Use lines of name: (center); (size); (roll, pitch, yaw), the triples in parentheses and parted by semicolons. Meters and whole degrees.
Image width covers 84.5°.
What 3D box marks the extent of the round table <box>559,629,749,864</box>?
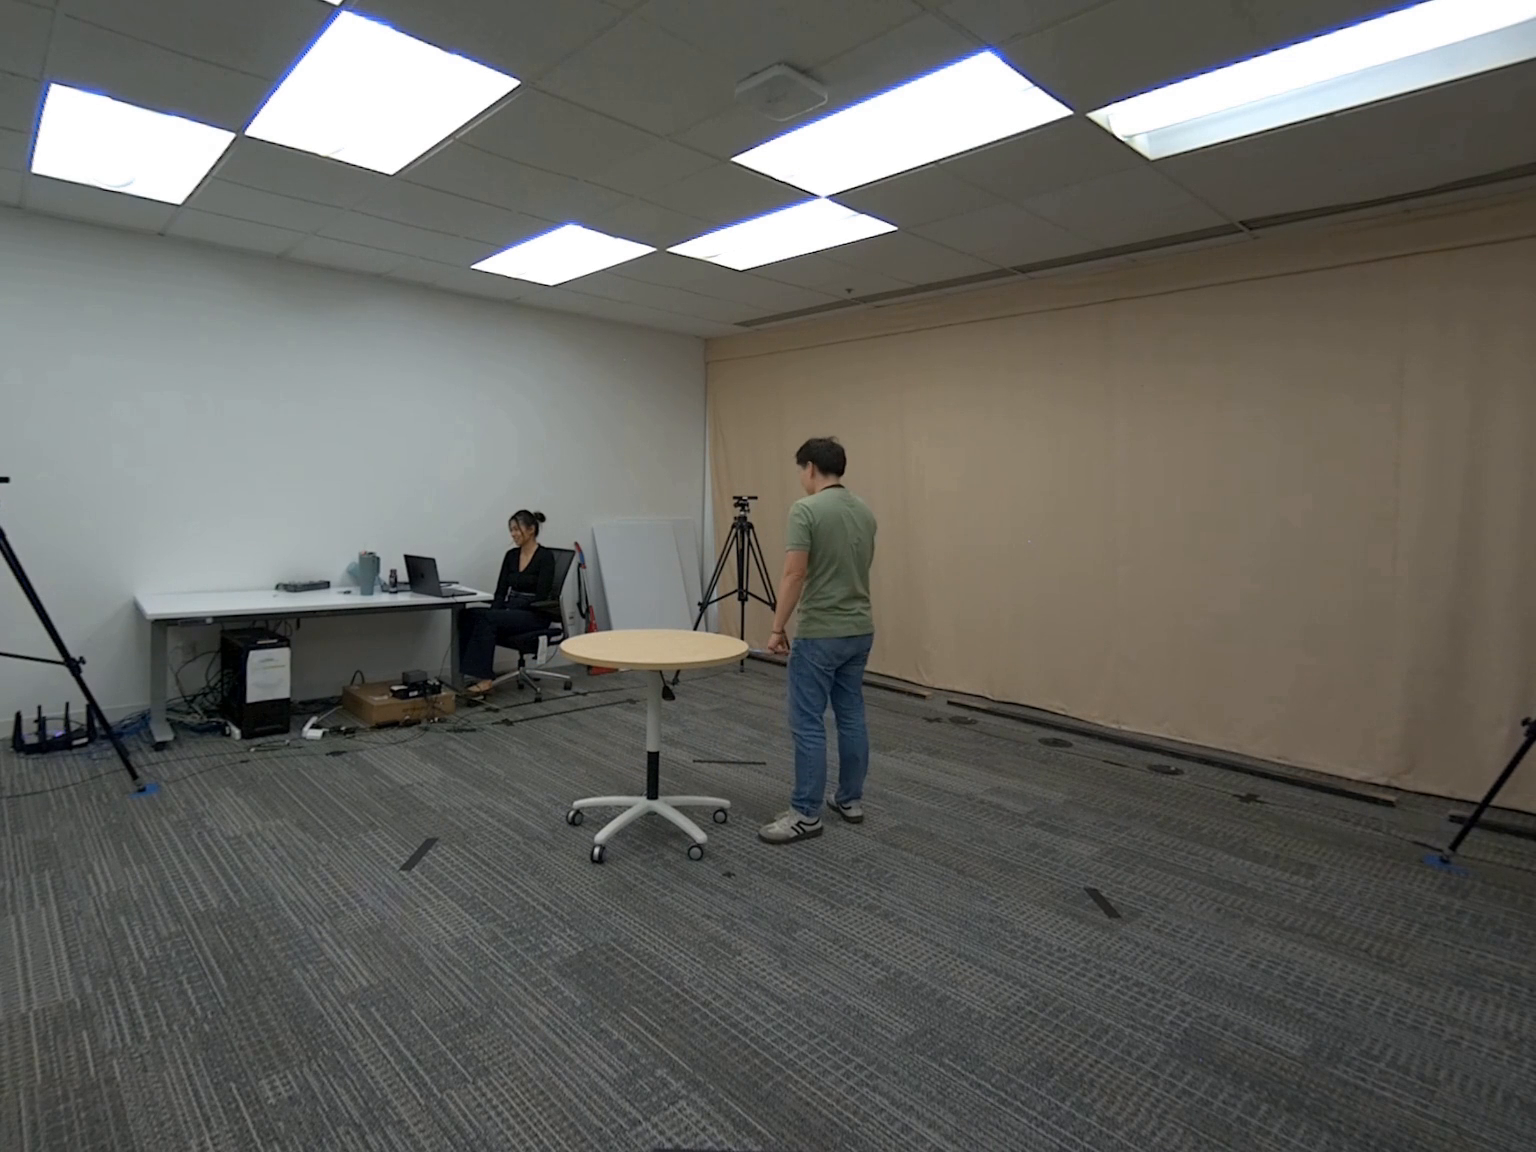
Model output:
round table: (-0.487, 0.675, 3.466); (0.763, 0.792, 0.767); (1, 4, -1)
